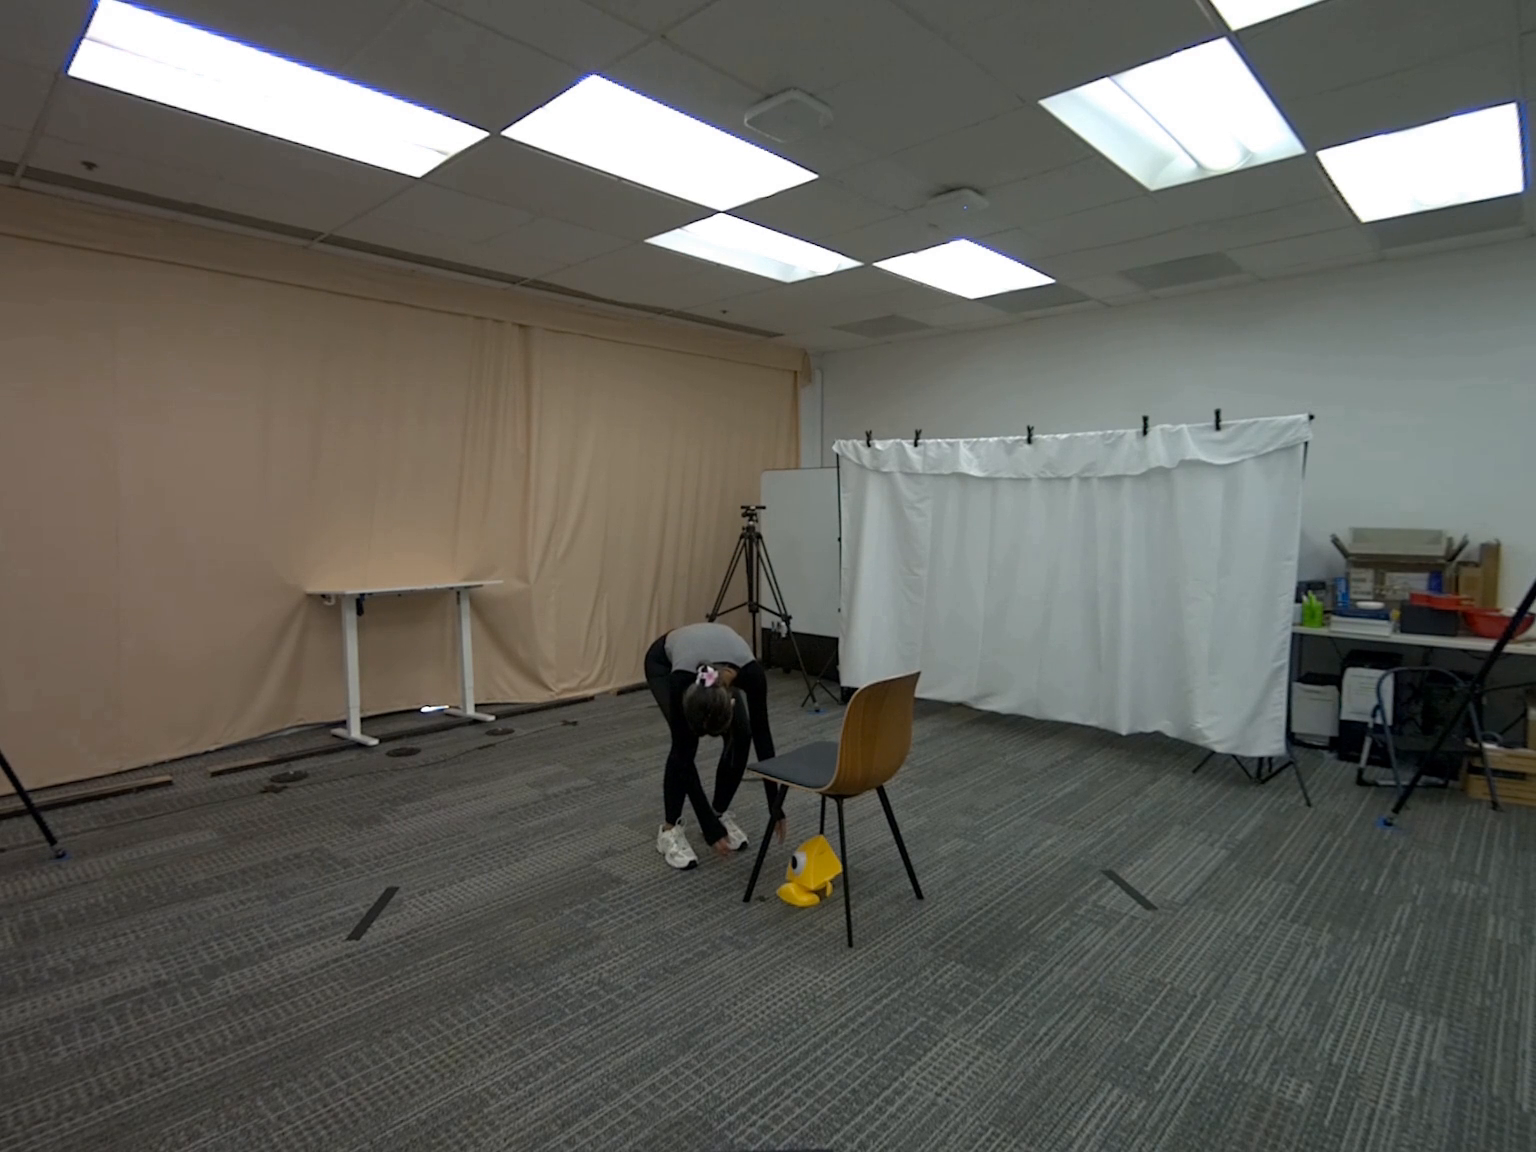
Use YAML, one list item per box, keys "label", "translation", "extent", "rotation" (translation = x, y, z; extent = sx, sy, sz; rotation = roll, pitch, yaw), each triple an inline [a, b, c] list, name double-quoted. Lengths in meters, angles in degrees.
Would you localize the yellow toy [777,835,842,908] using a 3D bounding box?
- label: "yellow toy"
  translation: [0.142, 1.032, 3.013]
  extent: [0.199, 0.230, 0.199]
  rotation: [4, 7, 40]
